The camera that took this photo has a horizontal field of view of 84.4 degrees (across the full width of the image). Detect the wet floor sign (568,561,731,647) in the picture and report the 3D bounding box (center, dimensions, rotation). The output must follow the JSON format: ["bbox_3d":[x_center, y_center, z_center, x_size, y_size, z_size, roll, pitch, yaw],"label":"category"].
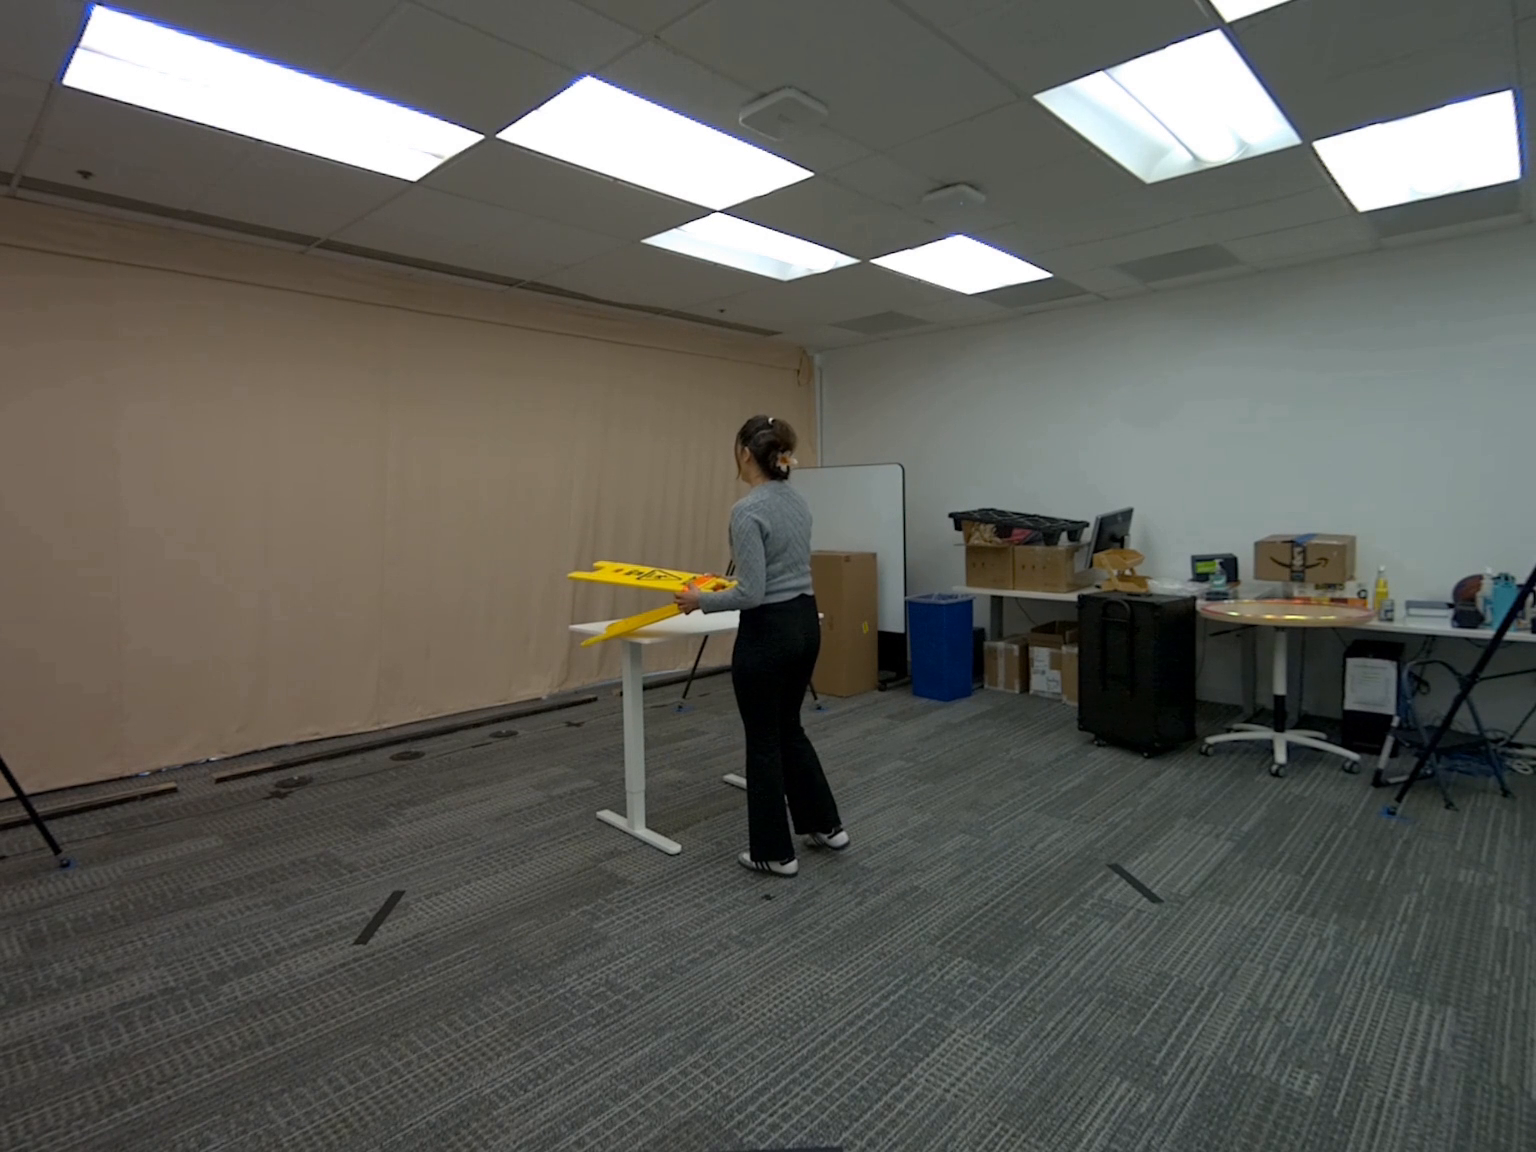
[{"bbox_3d":[-0.441,0.086,3.316,0.660,0.287,0.278,-5,11,23],"label":"wet floor sign"}]
